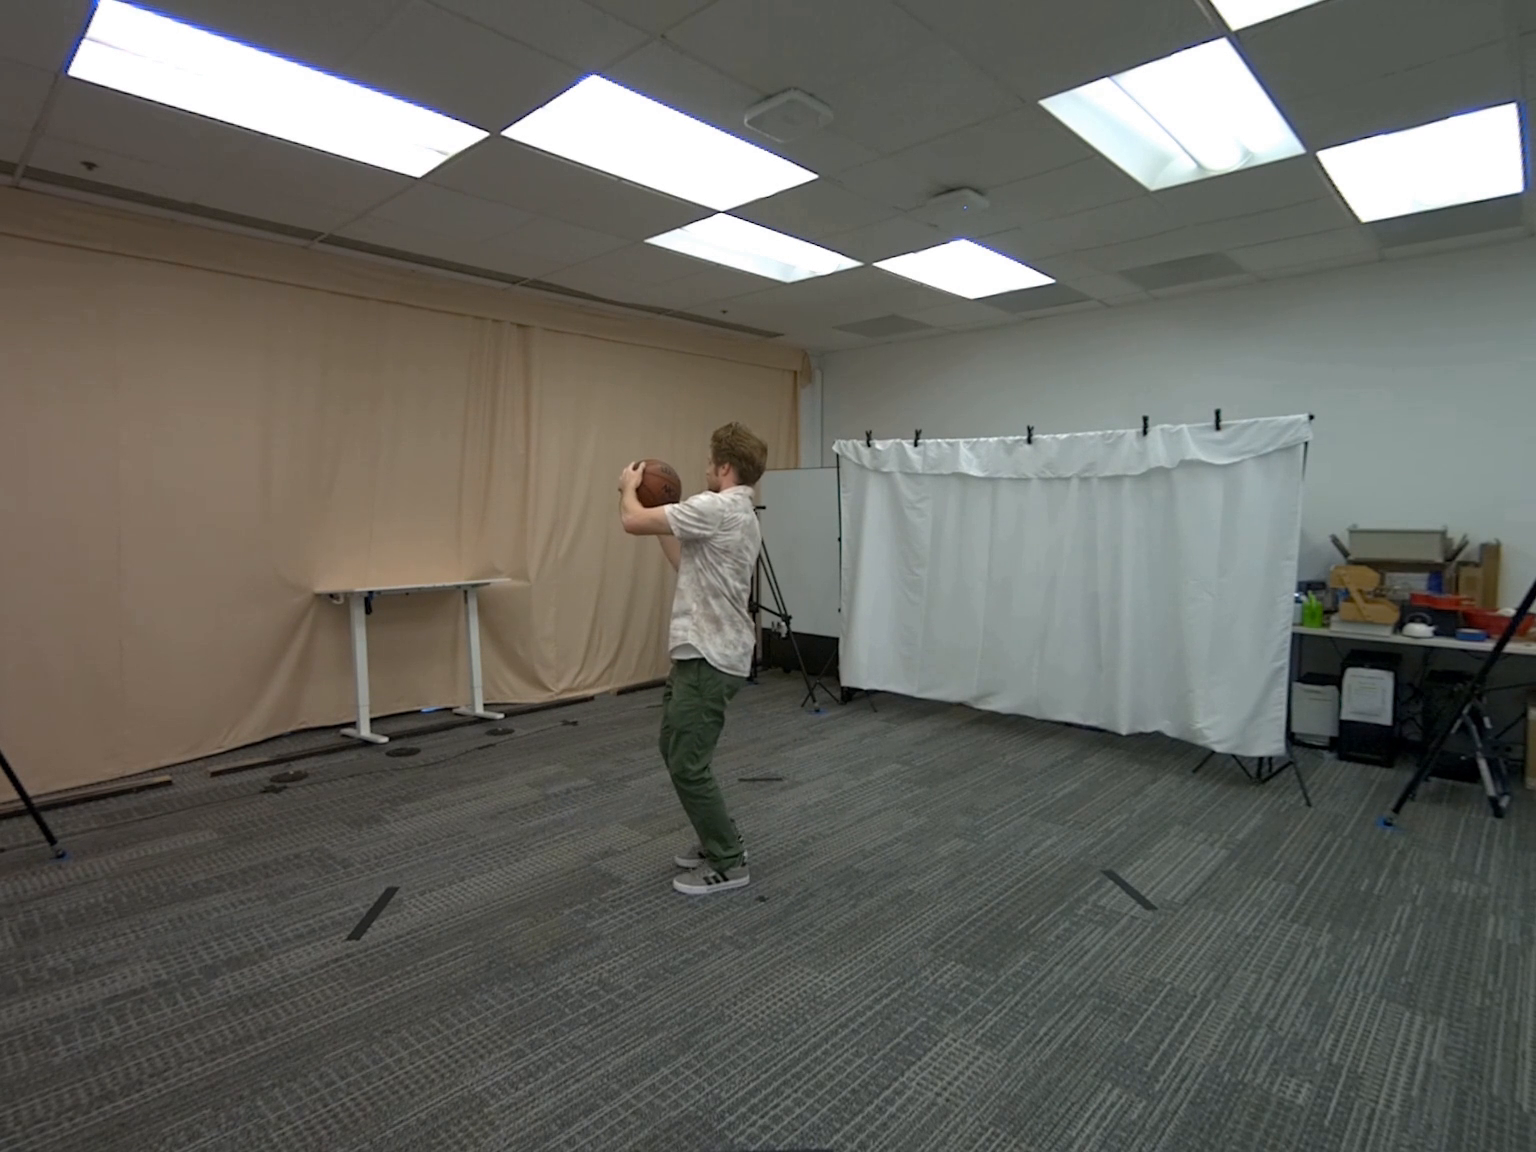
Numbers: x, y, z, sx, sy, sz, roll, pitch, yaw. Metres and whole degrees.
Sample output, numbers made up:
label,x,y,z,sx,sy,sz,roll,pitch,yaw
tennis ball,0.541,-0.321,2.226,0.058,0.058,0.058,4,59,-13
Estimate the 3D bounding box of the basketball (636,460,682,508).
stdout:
label,x,y,z,sx,sy,sz,roll,pitch,yaw
basketball,-0.459,-0.341,3.319,0.236,0.235,0.237,0,4,-2
